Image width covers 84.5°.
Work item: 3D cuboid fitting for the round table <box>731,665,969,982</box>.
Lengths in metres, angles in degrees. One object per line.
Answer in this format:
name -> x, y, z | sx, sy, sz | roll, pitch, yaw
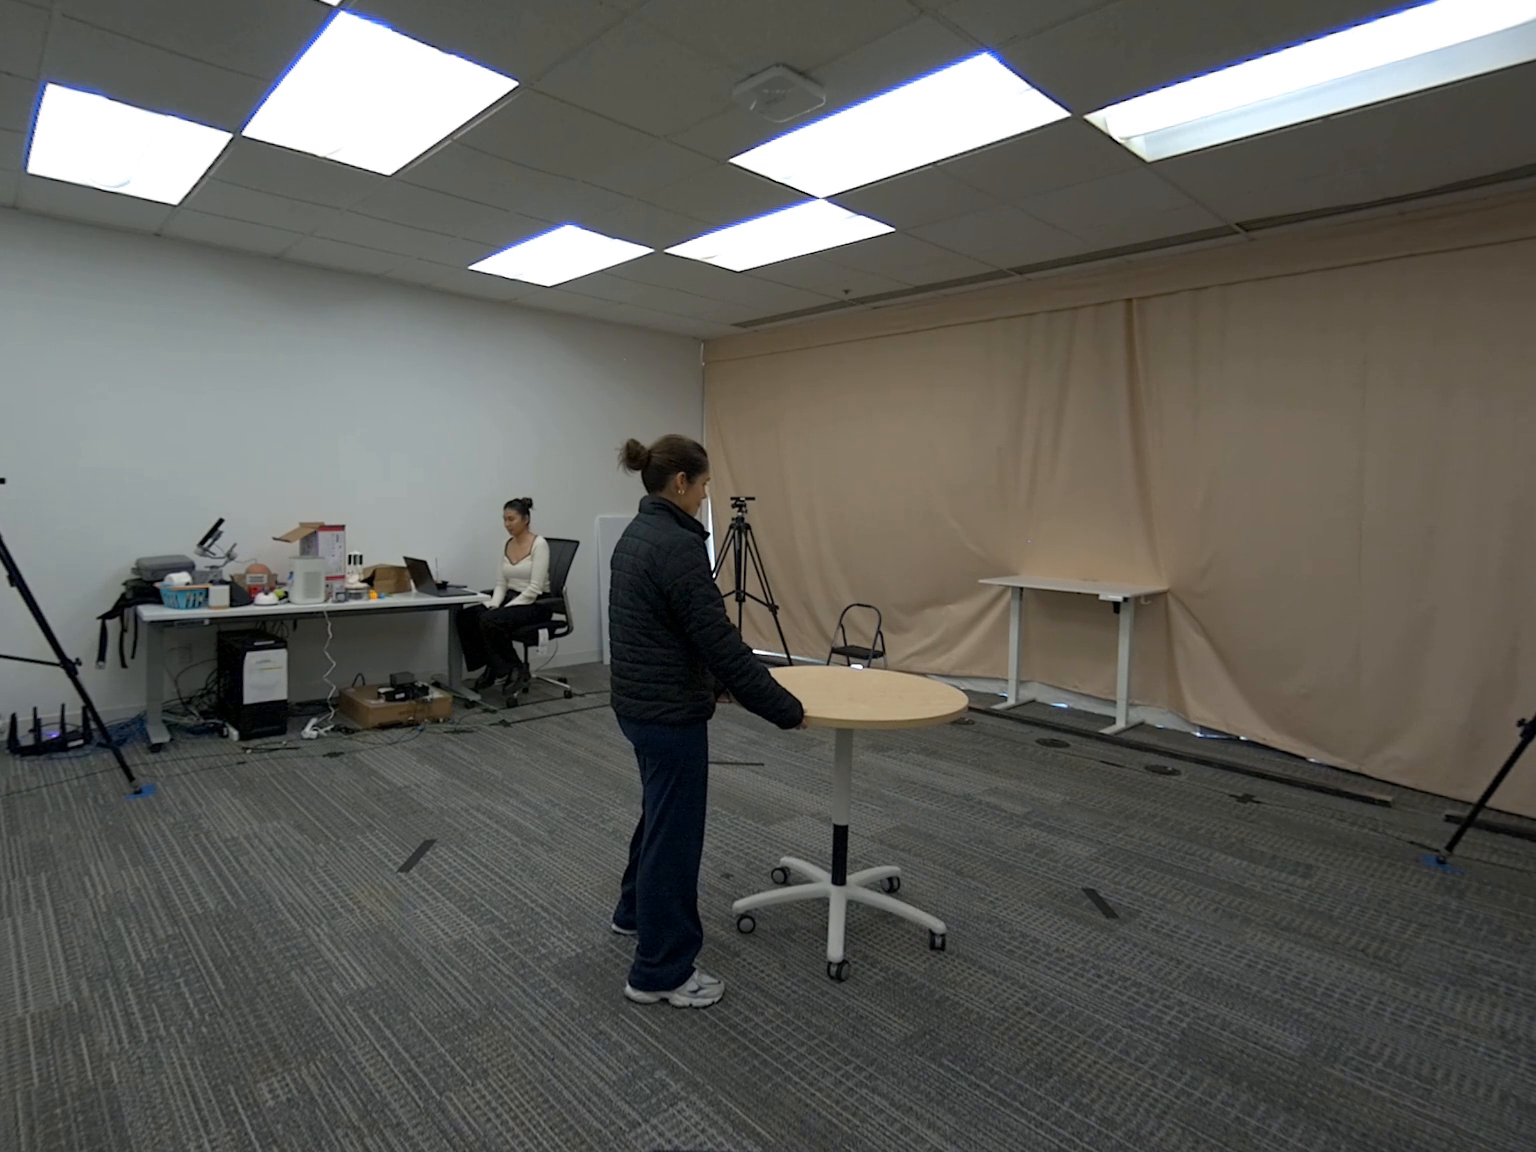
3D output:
round table -> 0.224, 0.755, 2.740 | 0.784, 0.784, 0.788 | 2, 4, -1
